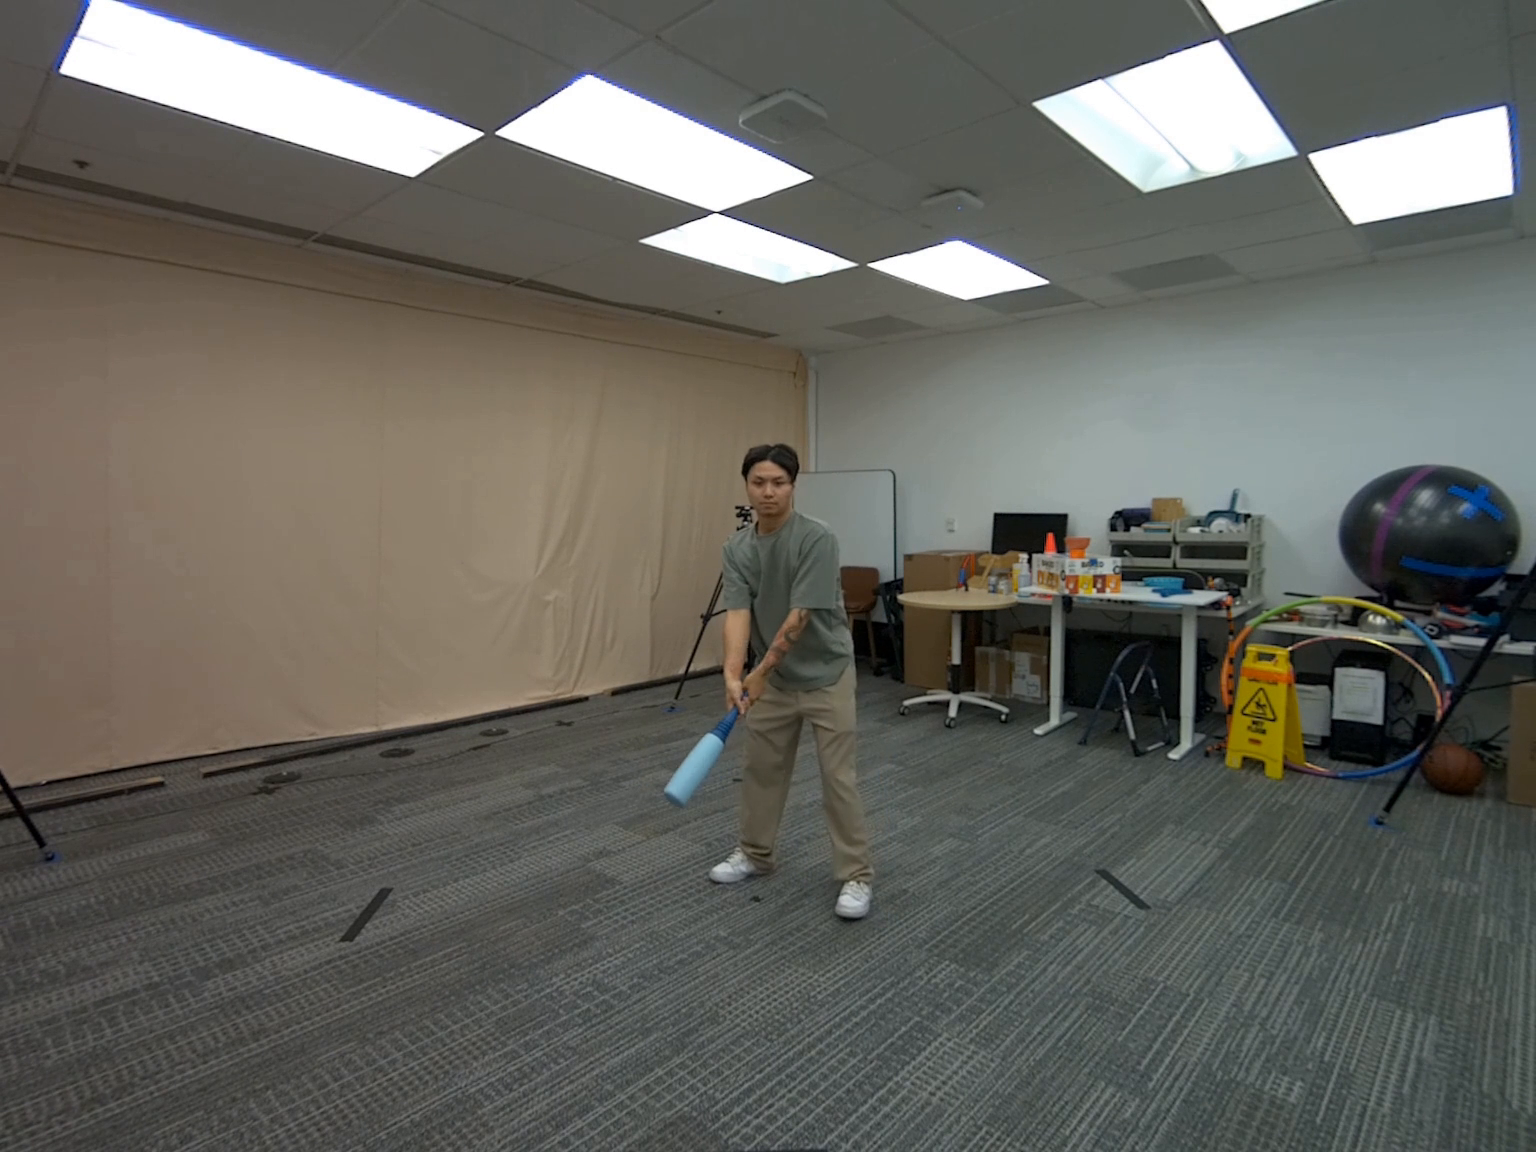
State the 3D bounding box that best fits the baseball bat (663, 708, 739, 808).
[{"bbox_3d":[-0.164,0.511,2.792,0.092,0.086,0.540,3,43,43],"label":"baseball bat"}]
